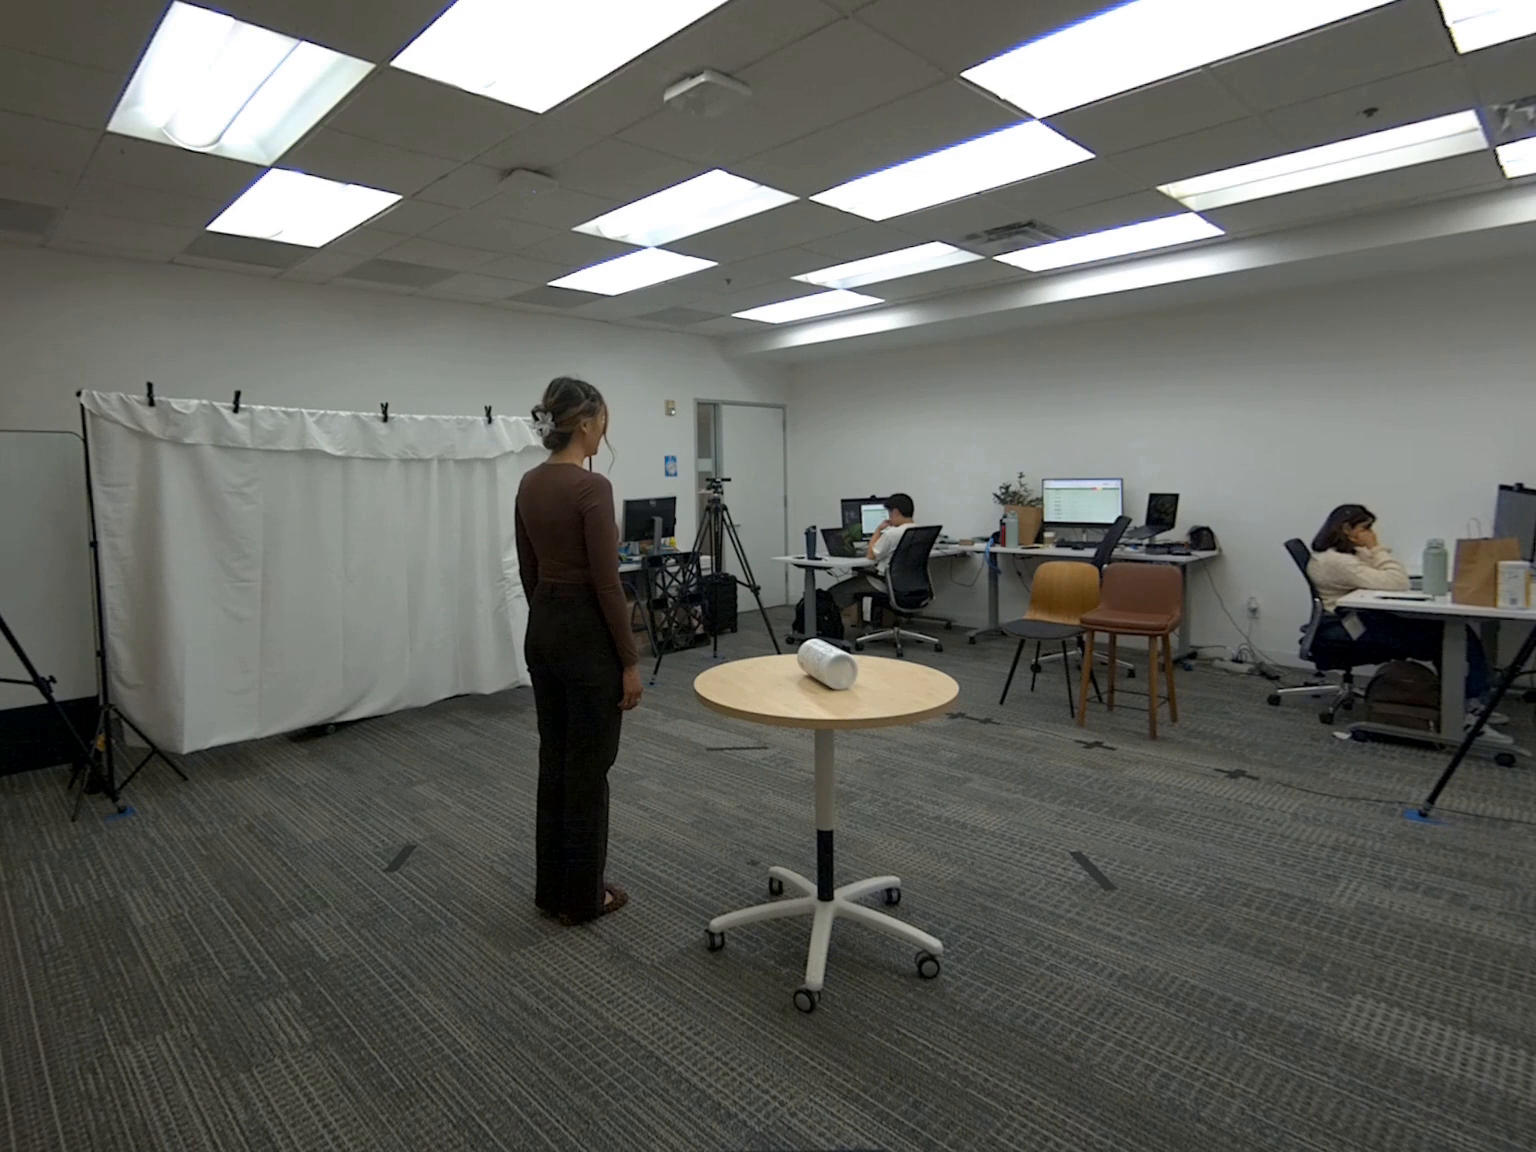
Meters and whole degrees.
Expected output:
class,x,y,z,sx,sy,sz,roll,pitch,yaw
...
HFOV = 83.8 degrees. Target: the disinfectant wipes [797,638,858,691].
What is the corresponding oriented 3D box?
class,x,y,z,sx,sy,sz,roll,pitch,yaw
disinfectant wipes,0.163,0.258,2.500,0.116,0.117,0.221,-2,8,-13
